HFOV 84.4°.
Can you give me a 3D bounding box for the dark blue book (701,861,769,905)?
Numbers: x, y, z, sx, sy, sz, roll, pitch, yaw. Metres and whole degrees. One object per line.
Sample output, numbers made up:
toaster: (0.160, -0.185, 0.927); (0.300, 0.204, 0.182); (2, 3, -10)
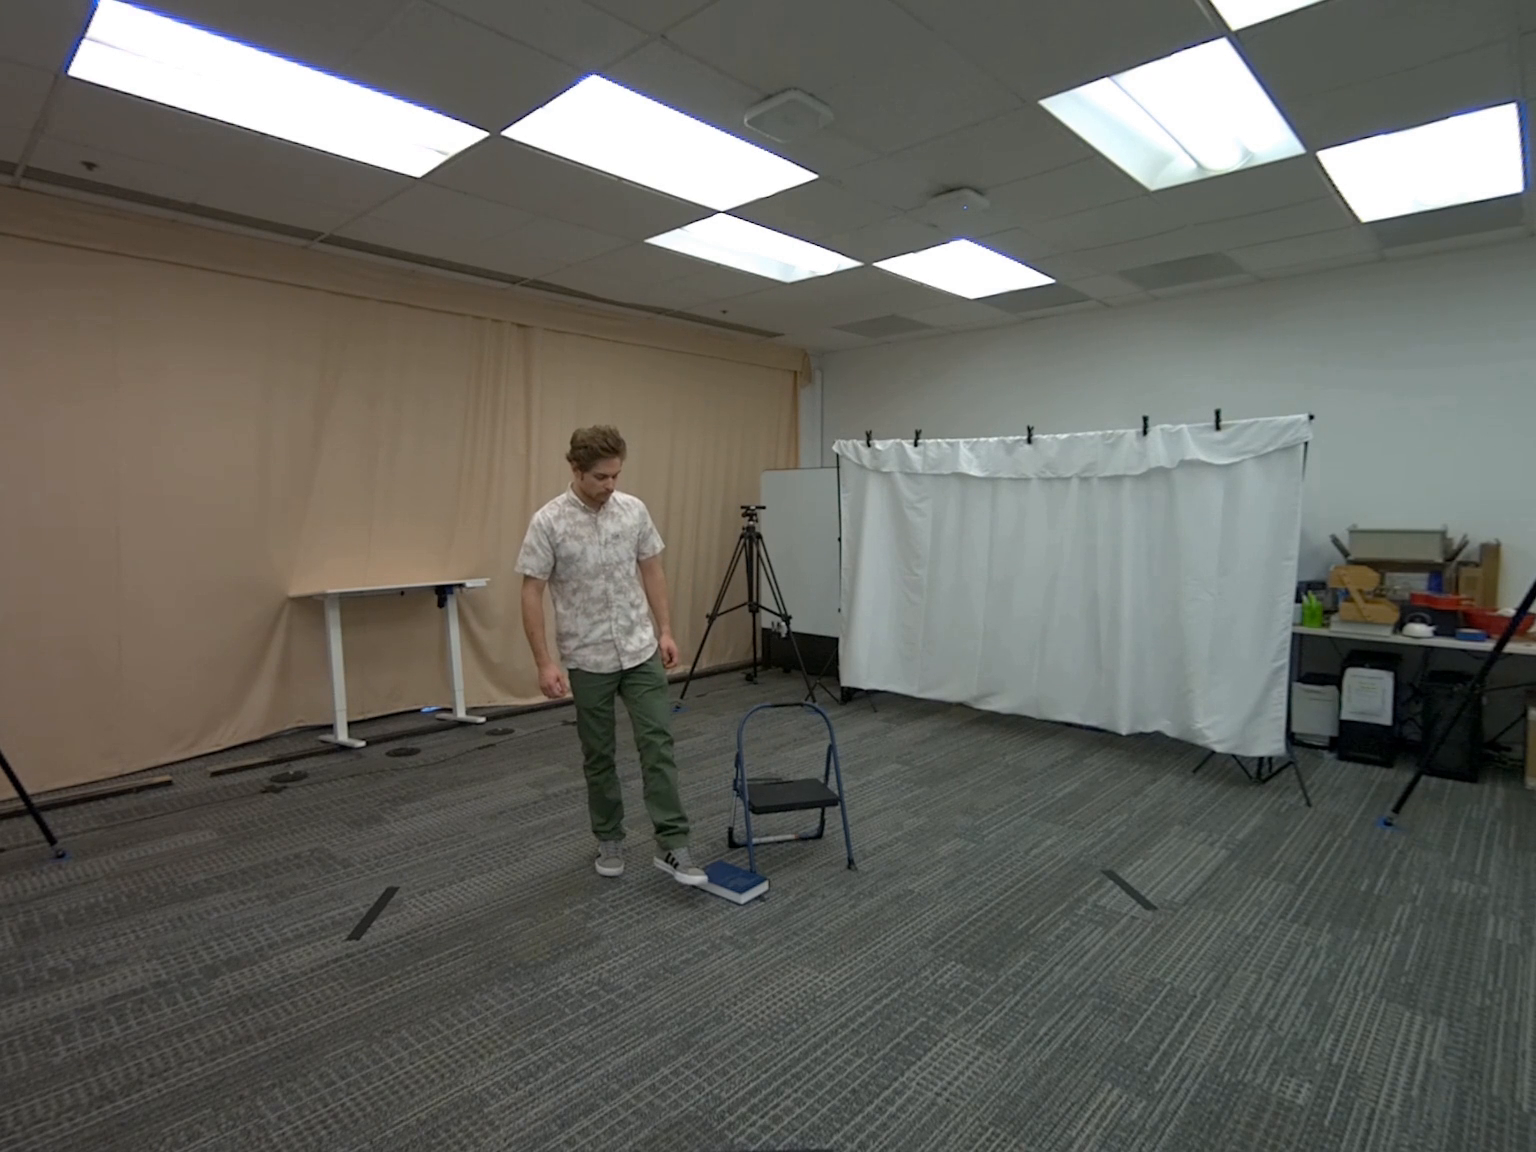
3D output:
dark blue book: (-0.136, 1.114, 3.062); (0.253, 0.045, 0.158); (4, 7, 39)
